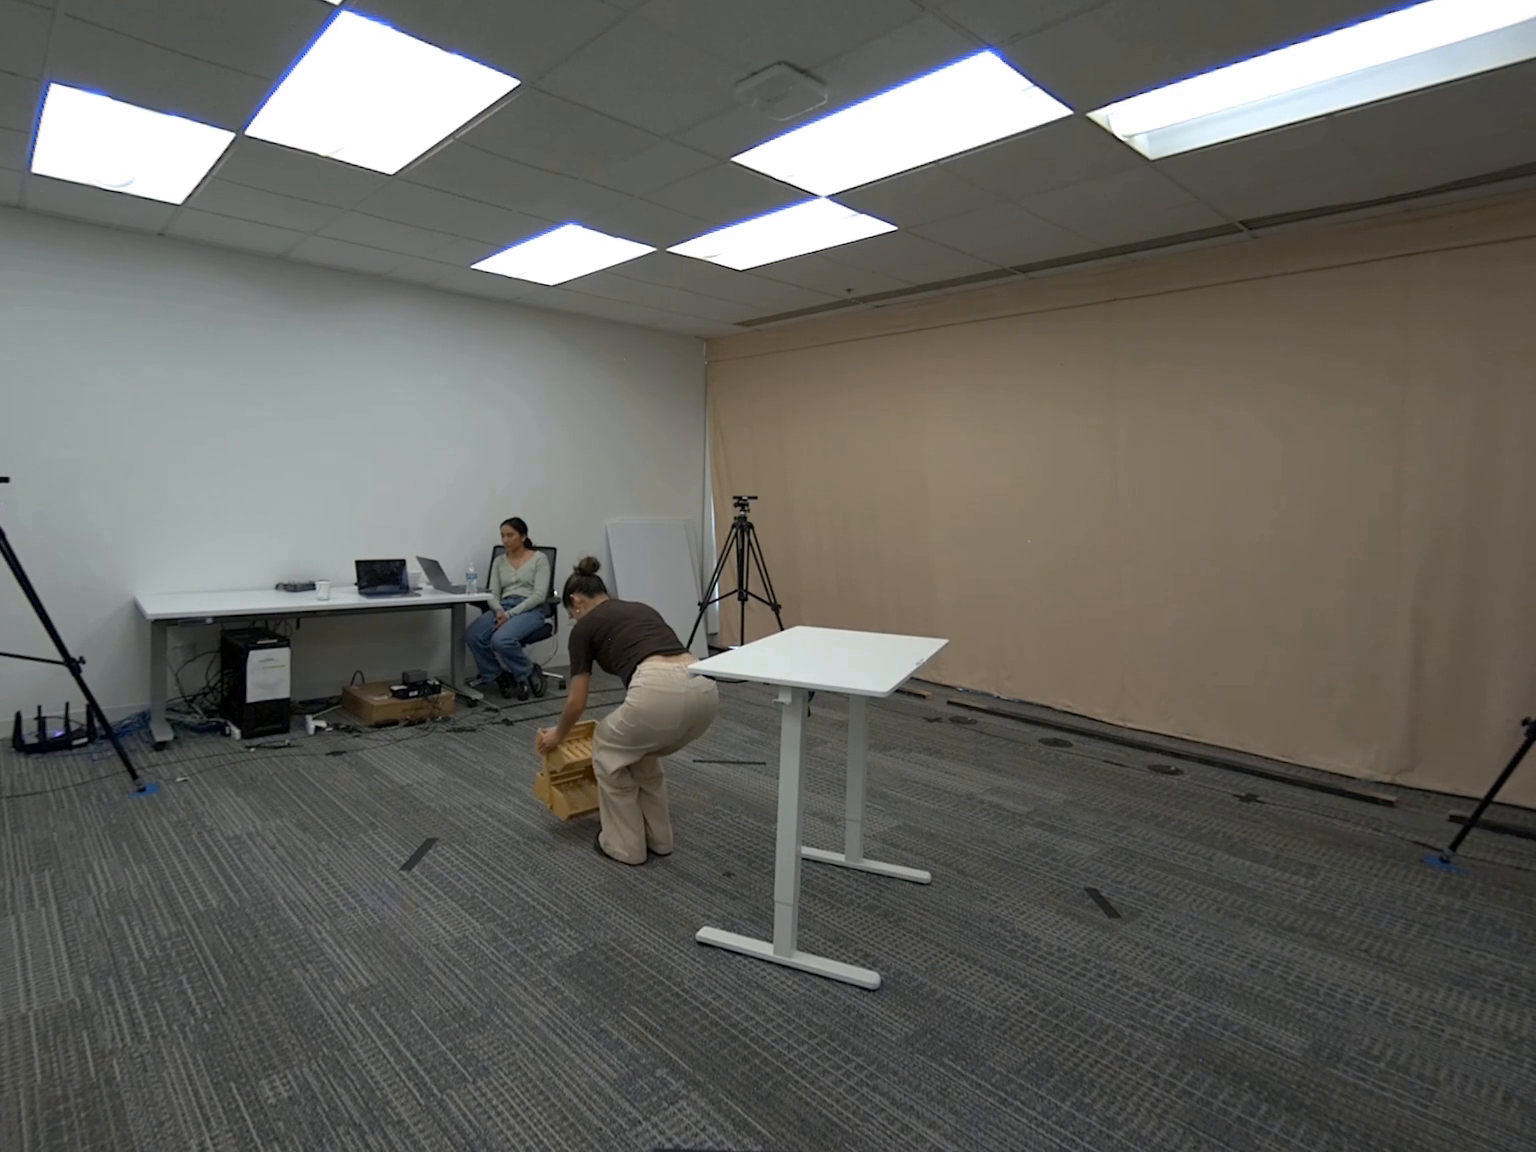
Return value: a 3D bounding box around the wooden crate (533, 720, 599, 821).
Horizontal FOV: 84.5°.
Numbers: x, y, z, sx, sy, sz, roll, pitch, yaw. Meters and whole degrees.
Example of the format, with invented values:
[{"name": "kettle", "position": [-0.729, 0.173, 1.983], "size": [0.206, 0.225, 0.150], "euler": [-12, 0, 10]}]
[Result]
[{"name": "wooden crate", "position": [-0.772, 0.789, 3.492], "size": [0.311, 0.271, 0.317], "euler": [25, 17, 38]}]
